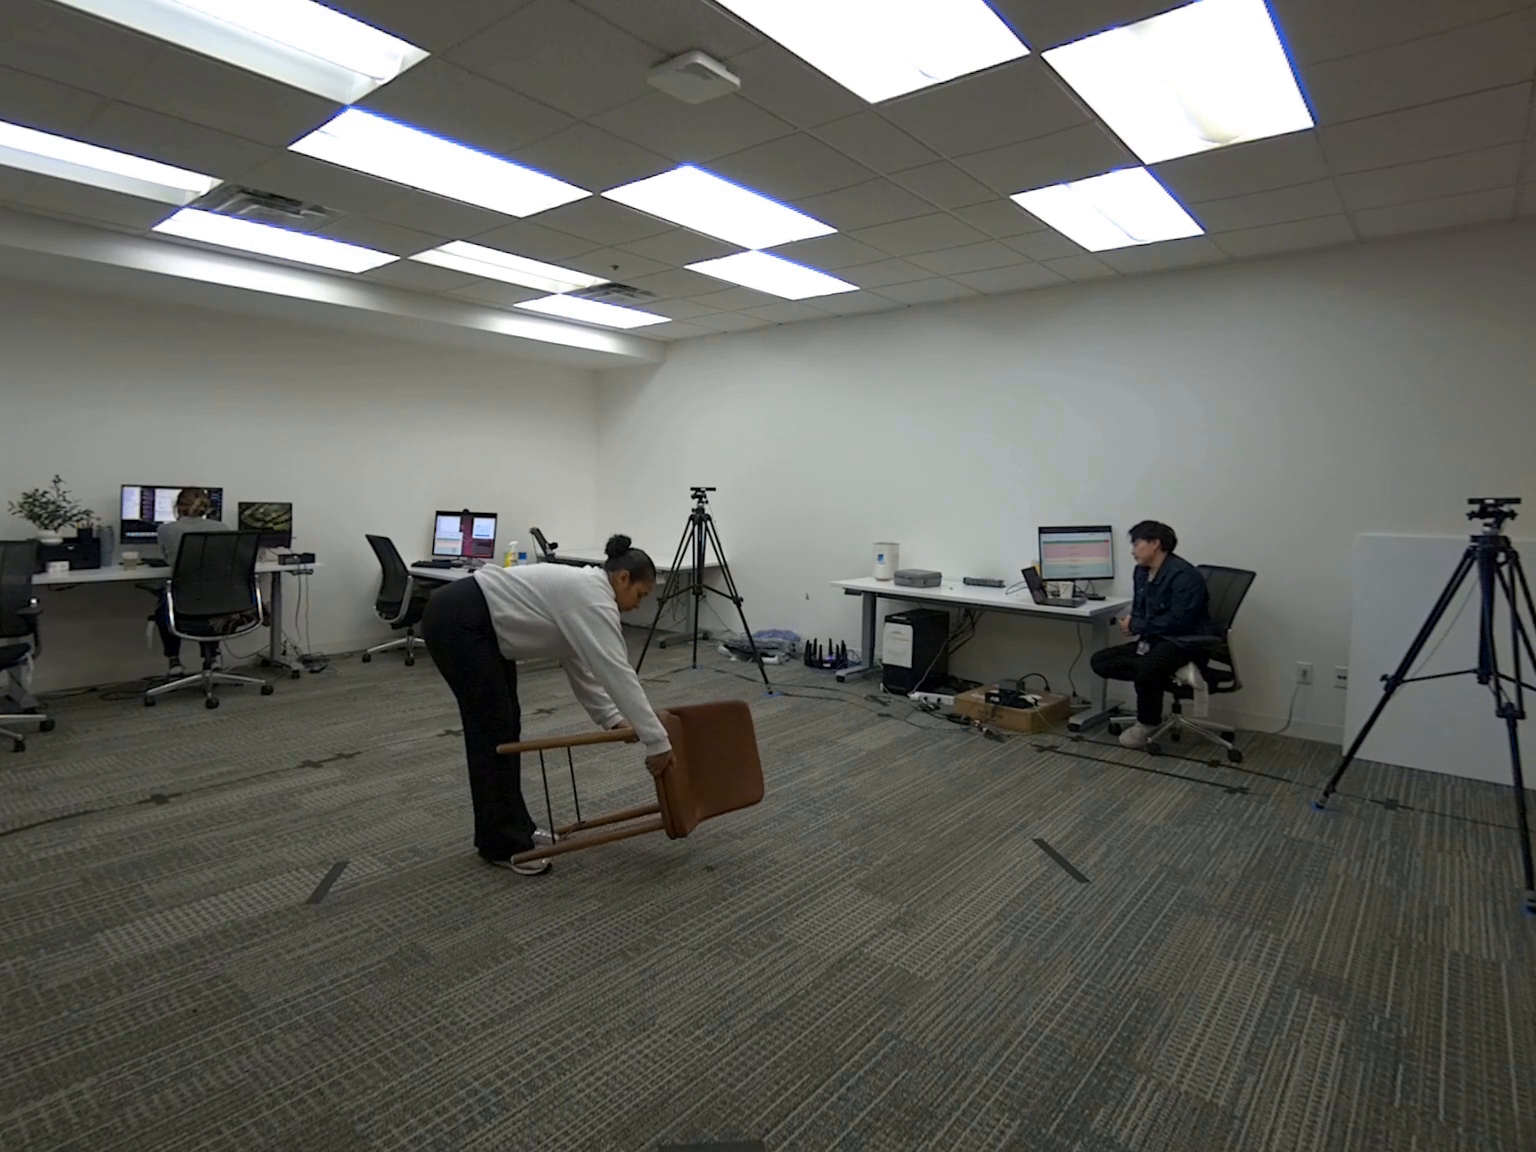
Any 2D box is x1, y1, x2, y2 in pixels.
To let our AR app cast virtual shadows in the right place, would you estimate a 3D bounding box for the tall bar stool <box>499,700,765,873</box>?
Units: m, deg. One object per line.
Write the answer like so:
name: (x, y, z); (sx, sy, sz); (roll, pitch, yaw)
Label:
tall bar stool: (-0.498, 0.744, 3.167); (0.892, 0.462, 0.461); (-11, -9, 3)
